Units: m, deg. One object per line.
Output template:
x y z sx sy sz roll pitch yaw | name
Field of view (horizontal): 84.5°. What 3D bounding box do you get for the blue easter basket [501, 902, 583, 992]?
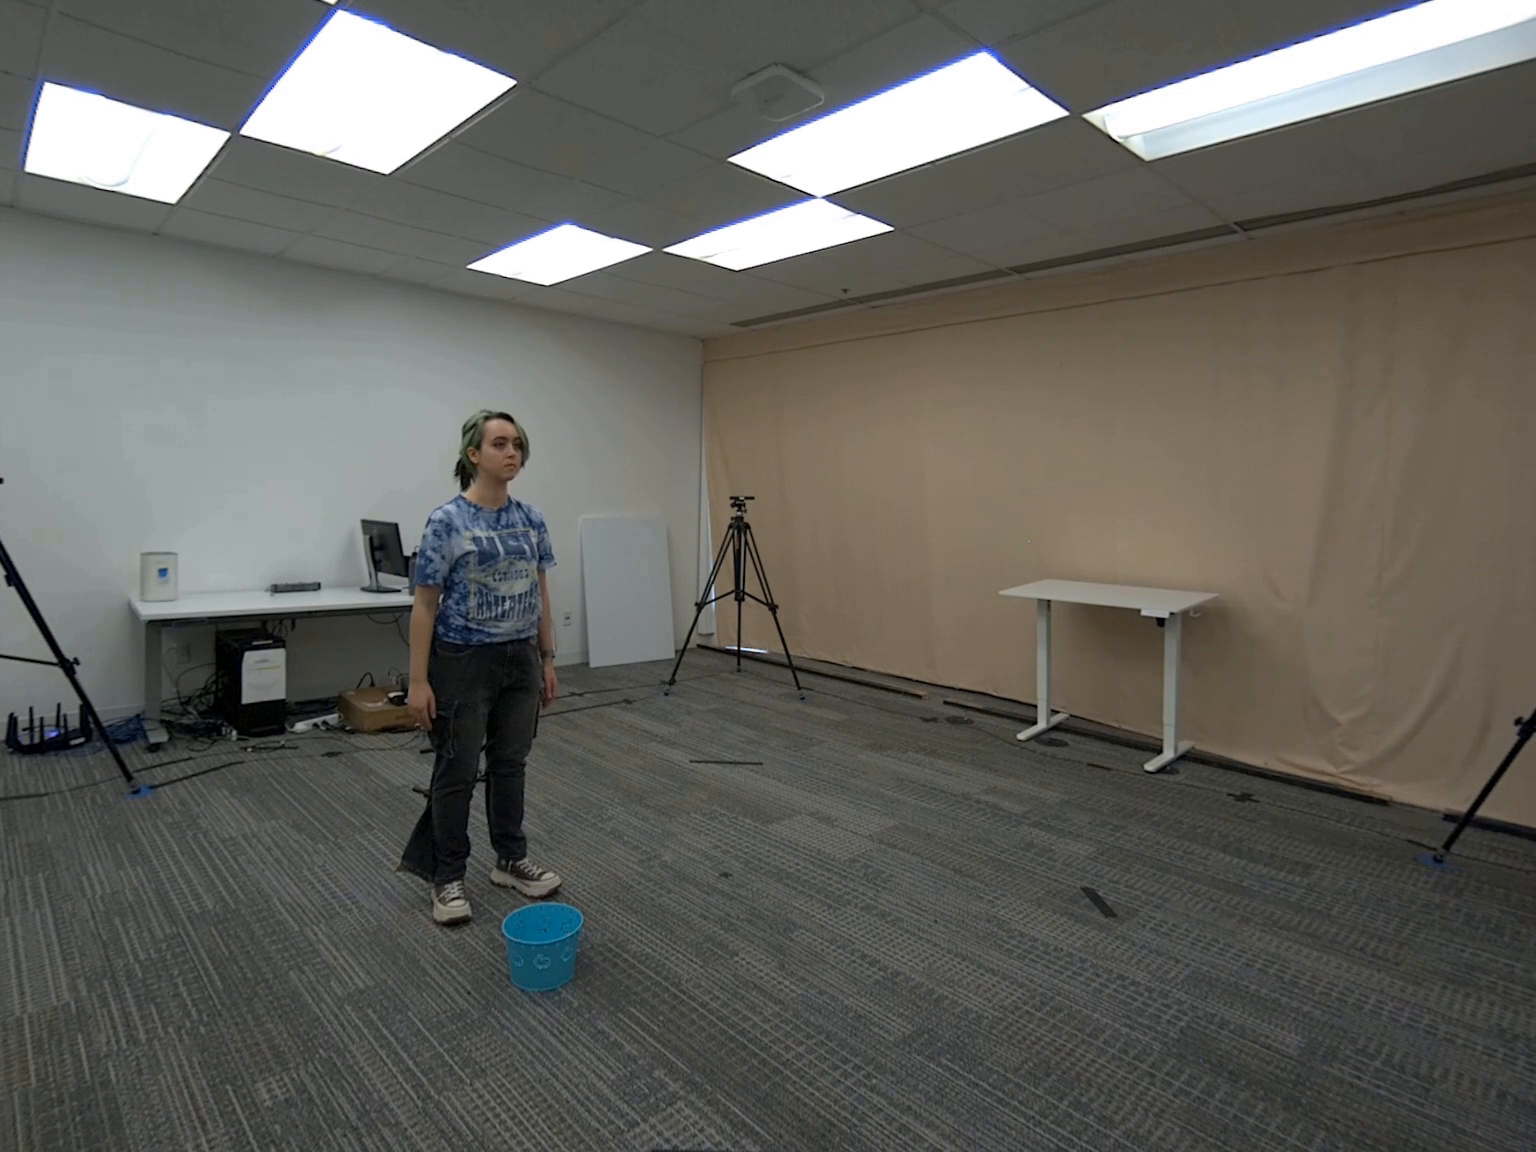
-0.657 1.078 2.436 0.243 0.155 0.244 2 5 -2 | blue easter basket
